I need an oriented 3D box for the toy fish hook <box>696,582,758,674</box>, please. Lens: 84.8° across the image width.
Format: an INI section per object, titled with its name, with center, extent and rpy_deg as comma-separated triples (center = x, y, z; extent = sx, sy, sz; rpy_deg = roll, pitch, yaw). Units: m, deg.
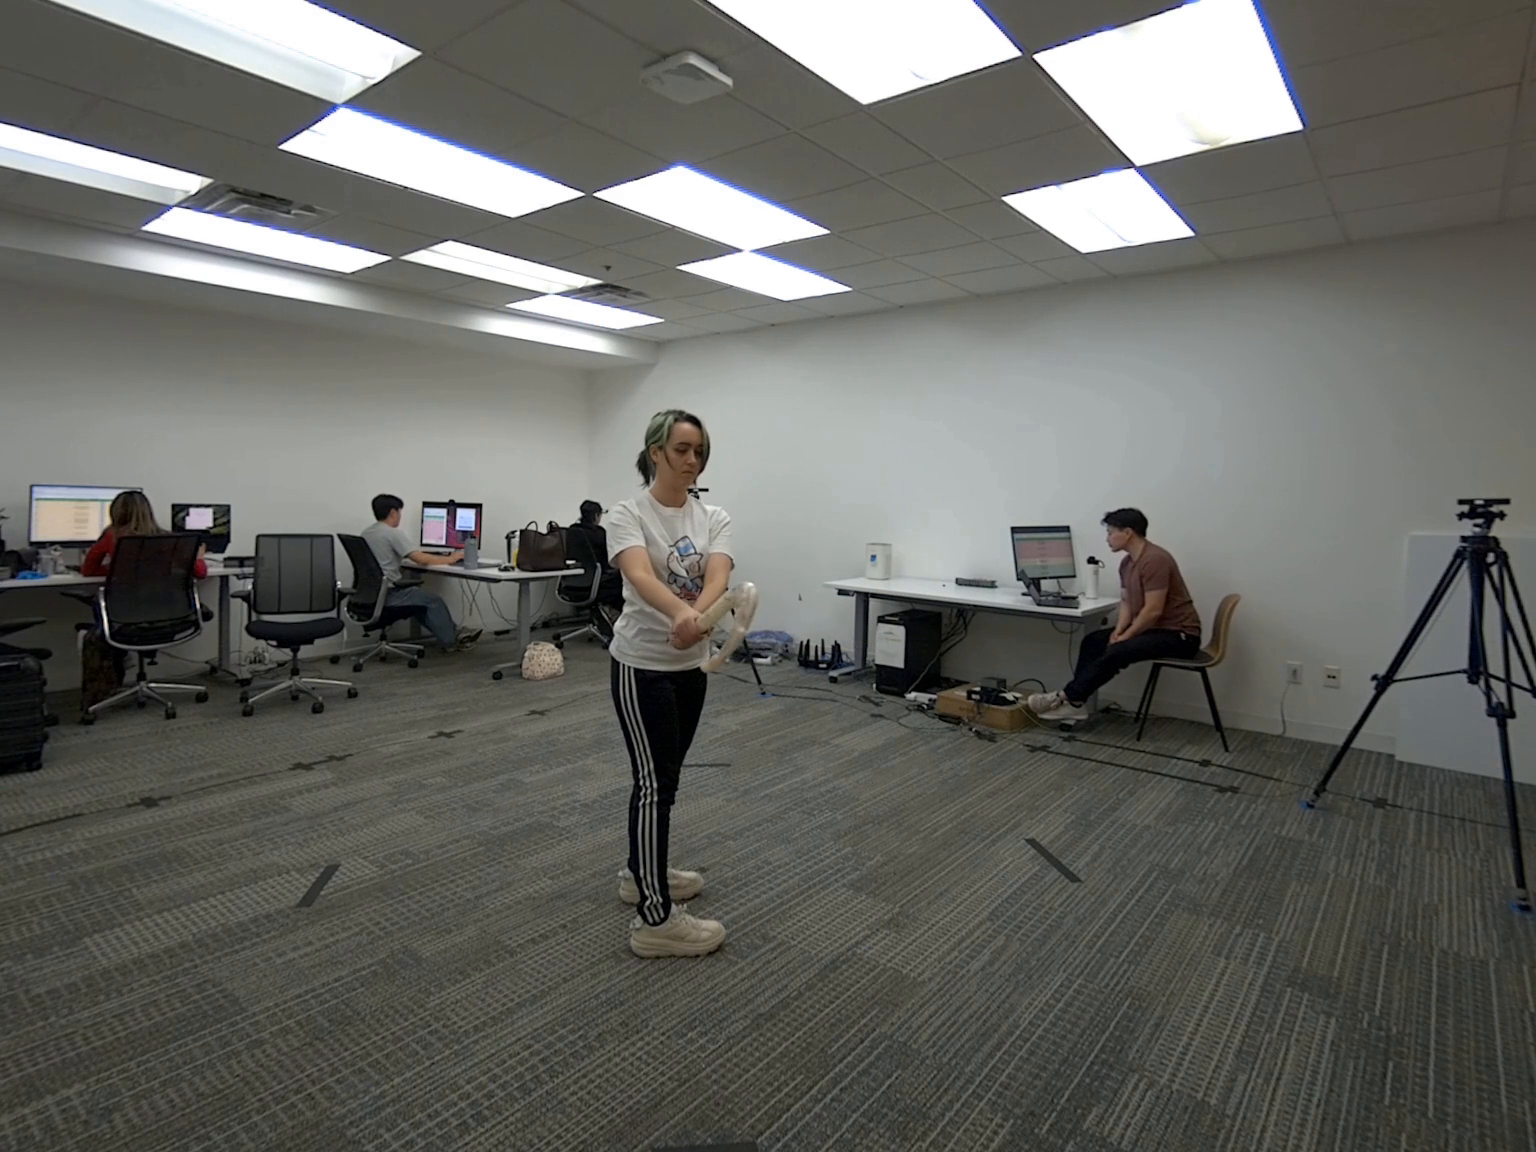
[toy fish hook]
center = -0.161, 0.152, 2.122
extent = 0.047, 0.227, 0.511
rpy_deg = 31, -28, -17
